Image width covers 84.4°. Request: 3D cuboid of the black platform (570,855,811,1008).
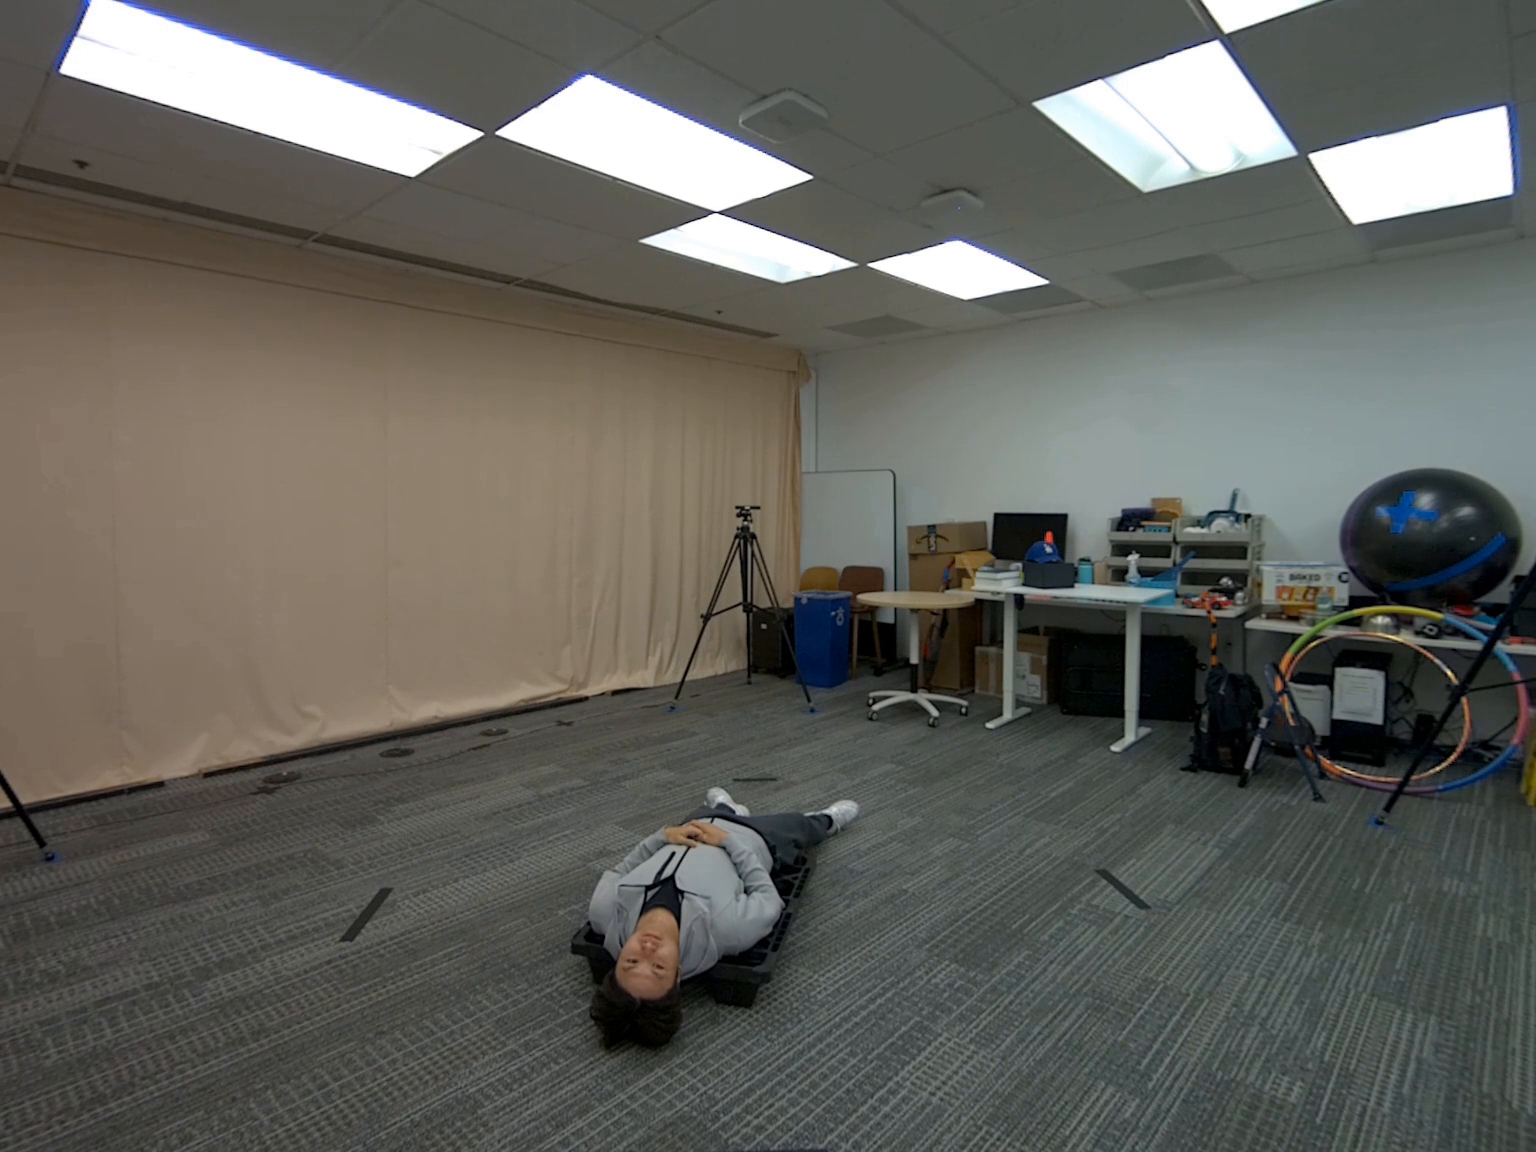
[{"bbox_3d":[-0.201,1.095,2.739,0.615,0.143,0.795,1,7,15],"label":"black platform"}]
